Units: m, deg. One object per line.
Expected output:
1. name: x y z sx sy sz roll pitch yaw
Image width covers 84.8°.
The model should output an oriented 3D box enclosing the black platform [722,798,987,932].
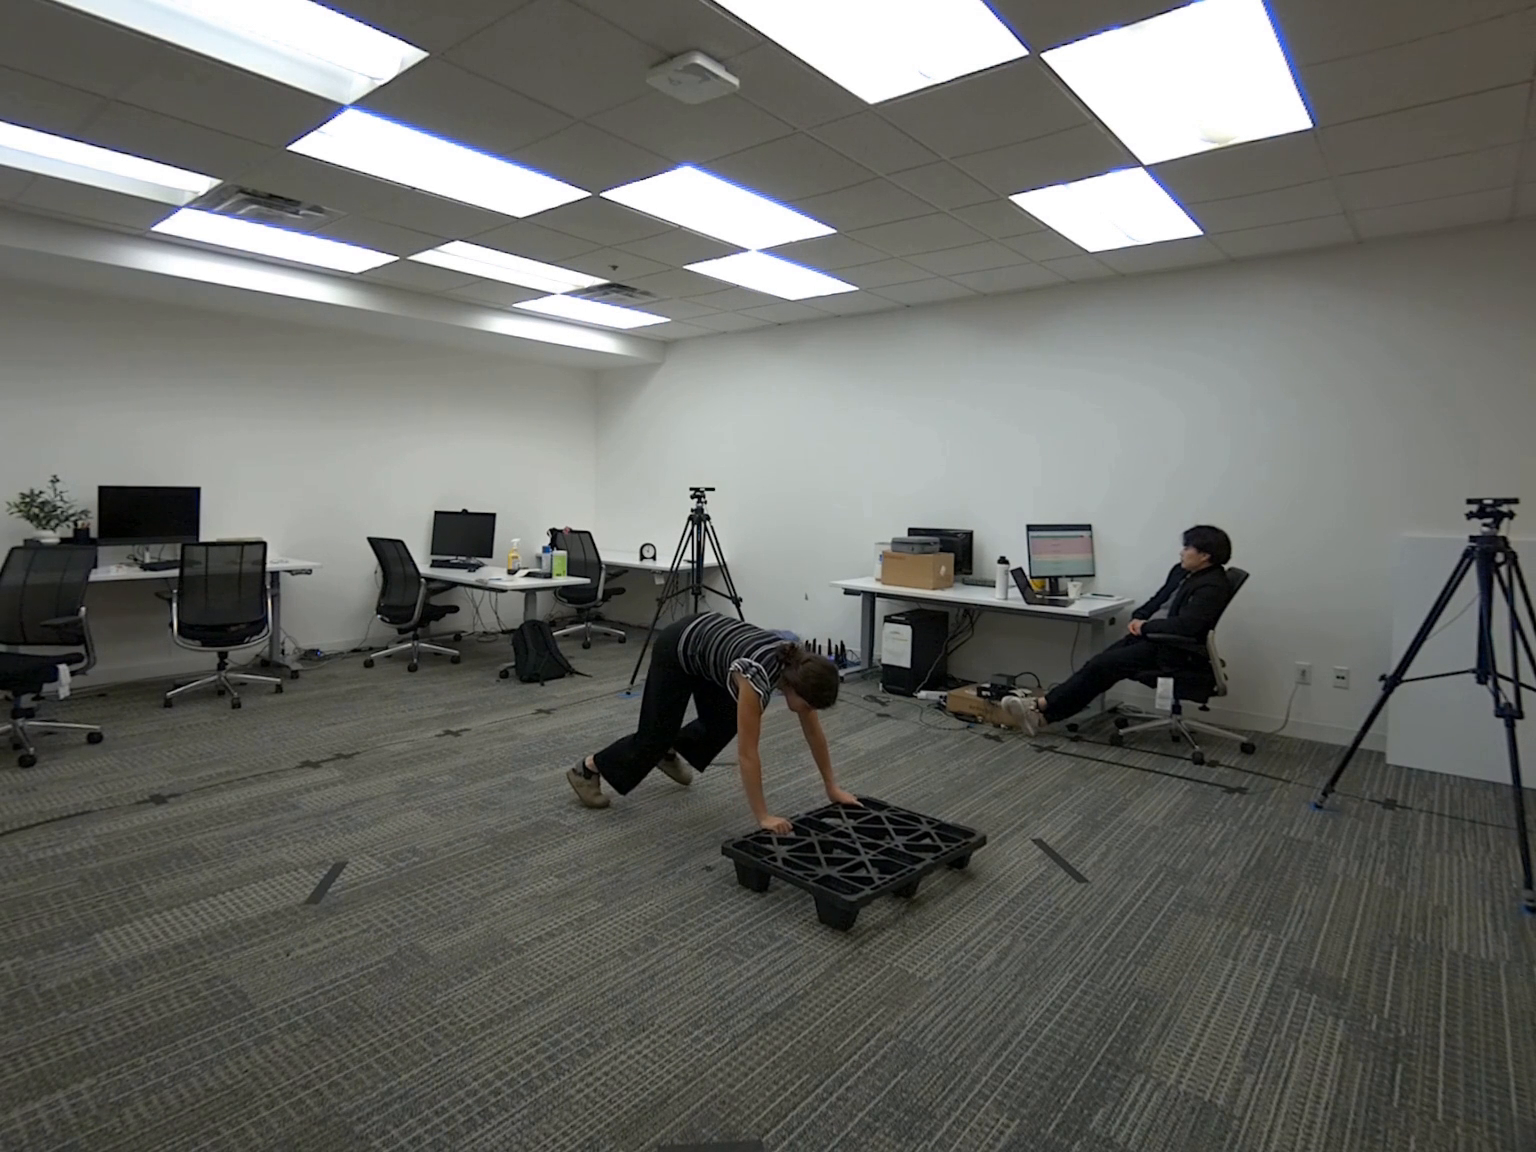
1. black platform: 0.314 1.012 3.067 0.781 0.143 0.626 -4 7 -44
